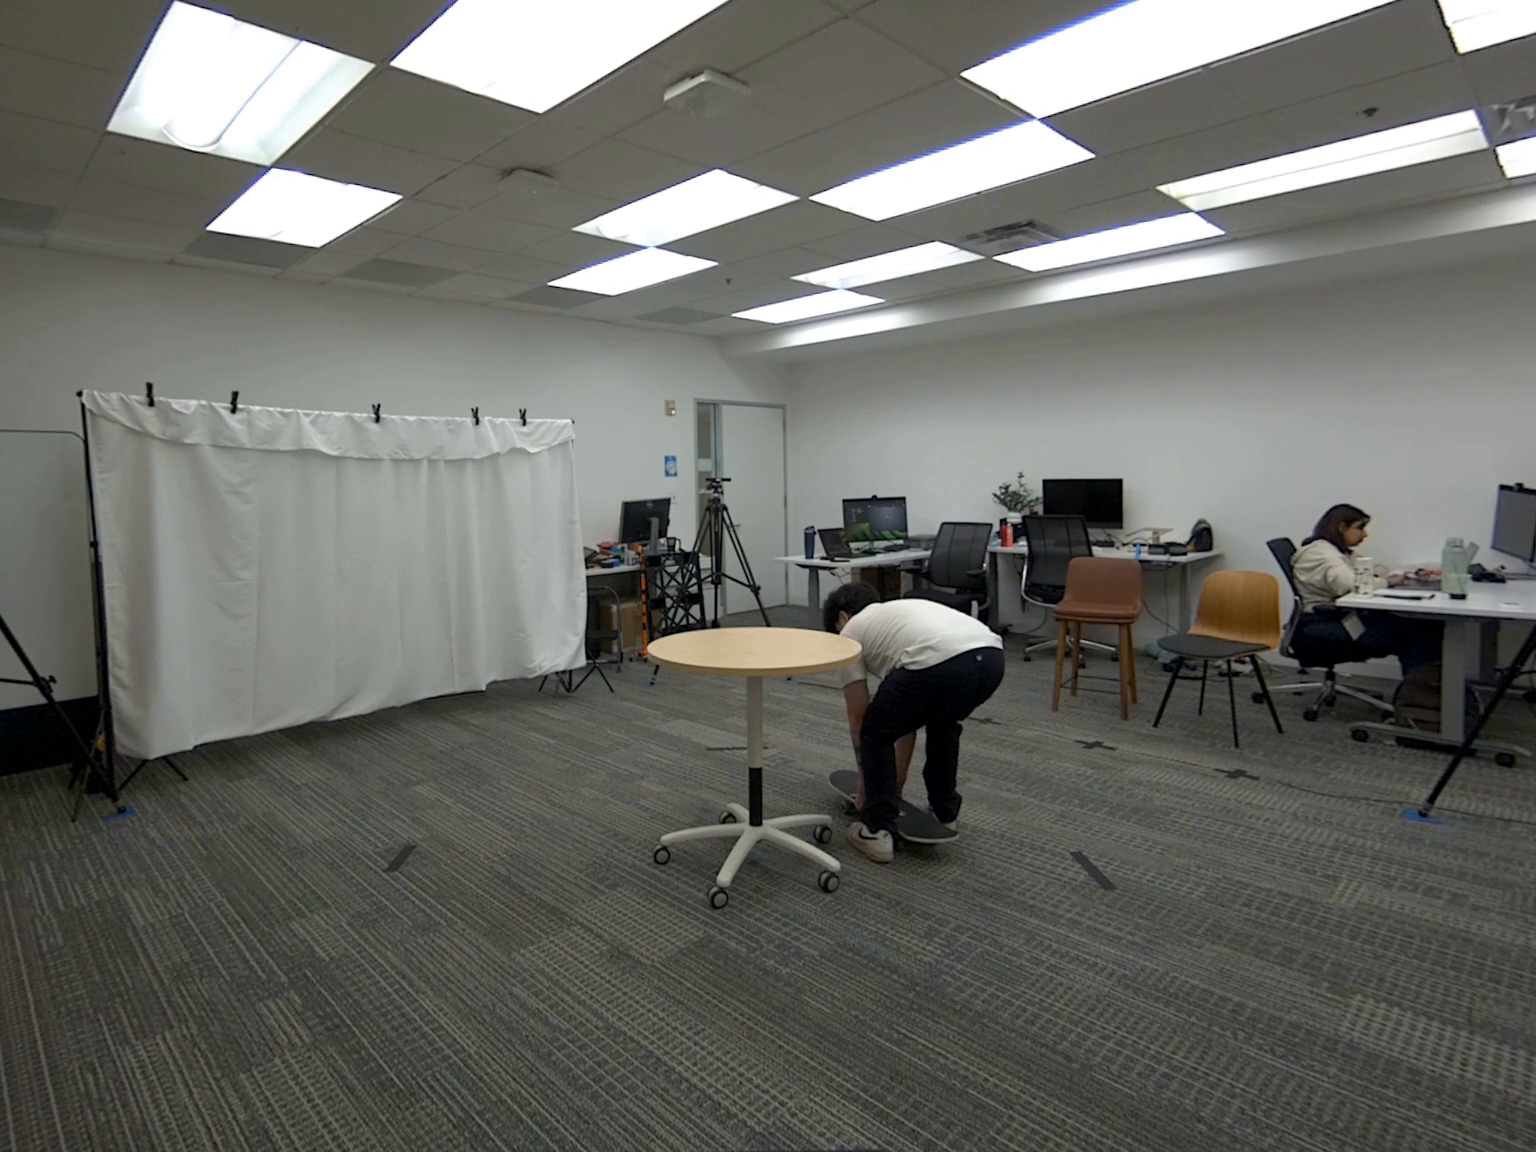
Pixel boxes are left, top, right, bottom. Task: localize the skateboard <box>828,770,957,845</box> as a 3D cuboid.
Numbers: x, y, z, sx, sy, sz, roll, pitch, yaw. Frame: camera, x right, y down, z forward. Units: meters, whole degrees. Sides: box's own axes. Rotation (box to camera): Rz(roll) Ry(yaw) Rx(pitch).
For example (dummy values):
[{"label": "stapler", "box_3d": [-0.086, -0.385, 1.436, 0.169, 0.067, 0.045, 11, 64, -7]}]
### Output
[{"label": "skateboard", "box_3d": [0.475, 0.948, 3.394, 0.190, 0.110, 0.803, -3, 6, -21]}]
